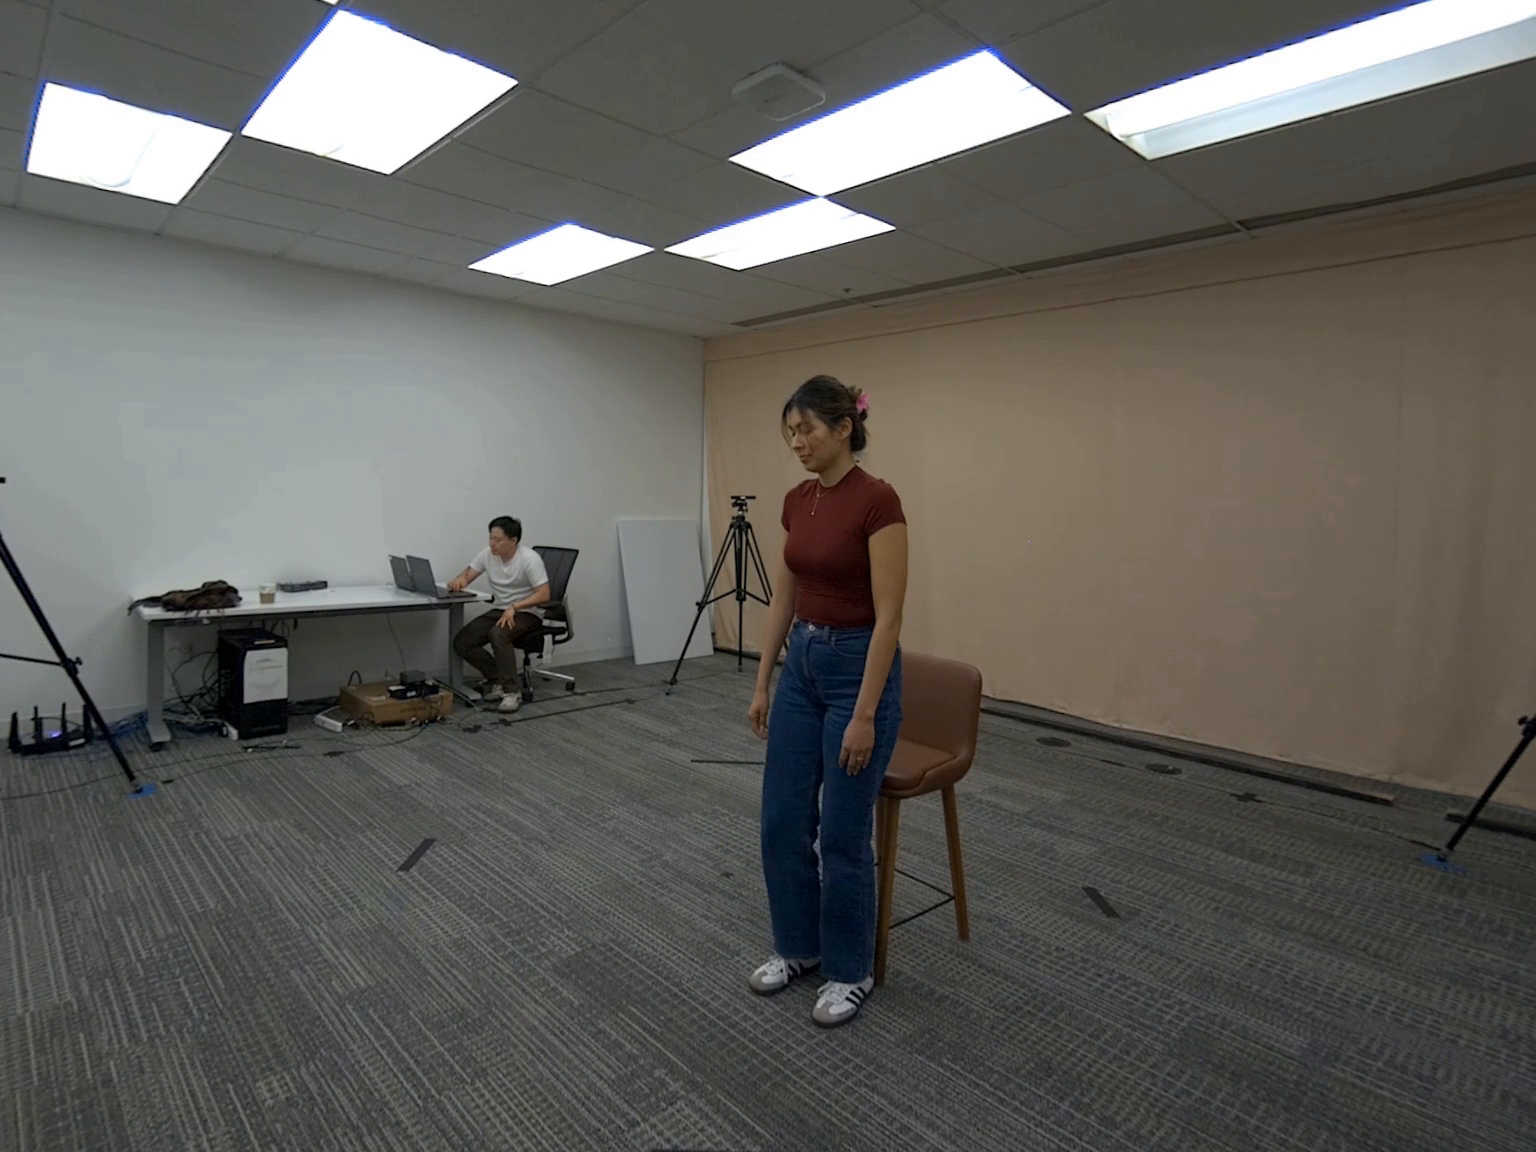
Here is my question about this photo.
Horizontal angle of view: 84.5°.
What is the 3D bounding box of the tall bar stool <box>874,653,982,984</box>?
[{"bbox_3d":[0.371,0.720,2.672,0.457,0.888,0.468,0,4,-39],"label":"tall bar stool"}]
